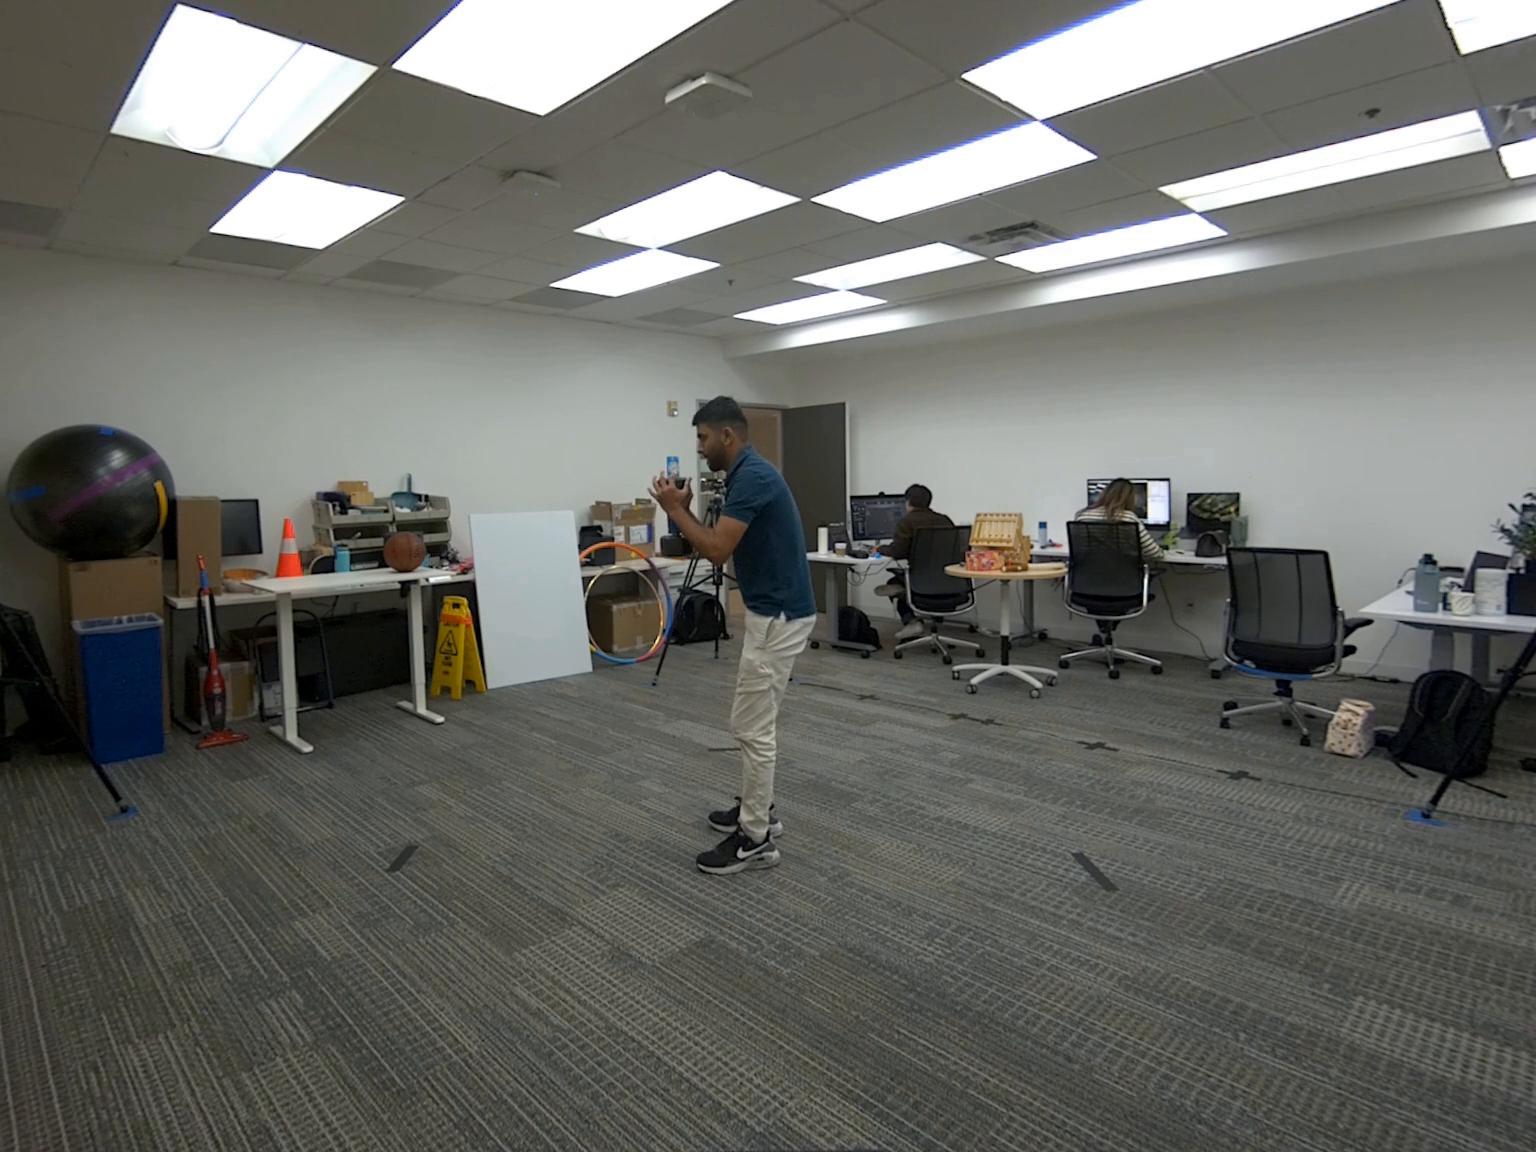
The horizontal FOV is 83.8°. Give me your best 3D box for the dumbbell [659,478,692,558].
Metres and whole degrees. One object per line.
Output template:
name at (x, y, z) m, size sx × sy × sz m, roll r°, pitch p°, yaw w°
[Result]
dumbbell at (-0.349, -0.210, 3.172) m, size 0.123 × 0.293 × 0.109 m, roll 1°, pitch 2°, yaw -2°
